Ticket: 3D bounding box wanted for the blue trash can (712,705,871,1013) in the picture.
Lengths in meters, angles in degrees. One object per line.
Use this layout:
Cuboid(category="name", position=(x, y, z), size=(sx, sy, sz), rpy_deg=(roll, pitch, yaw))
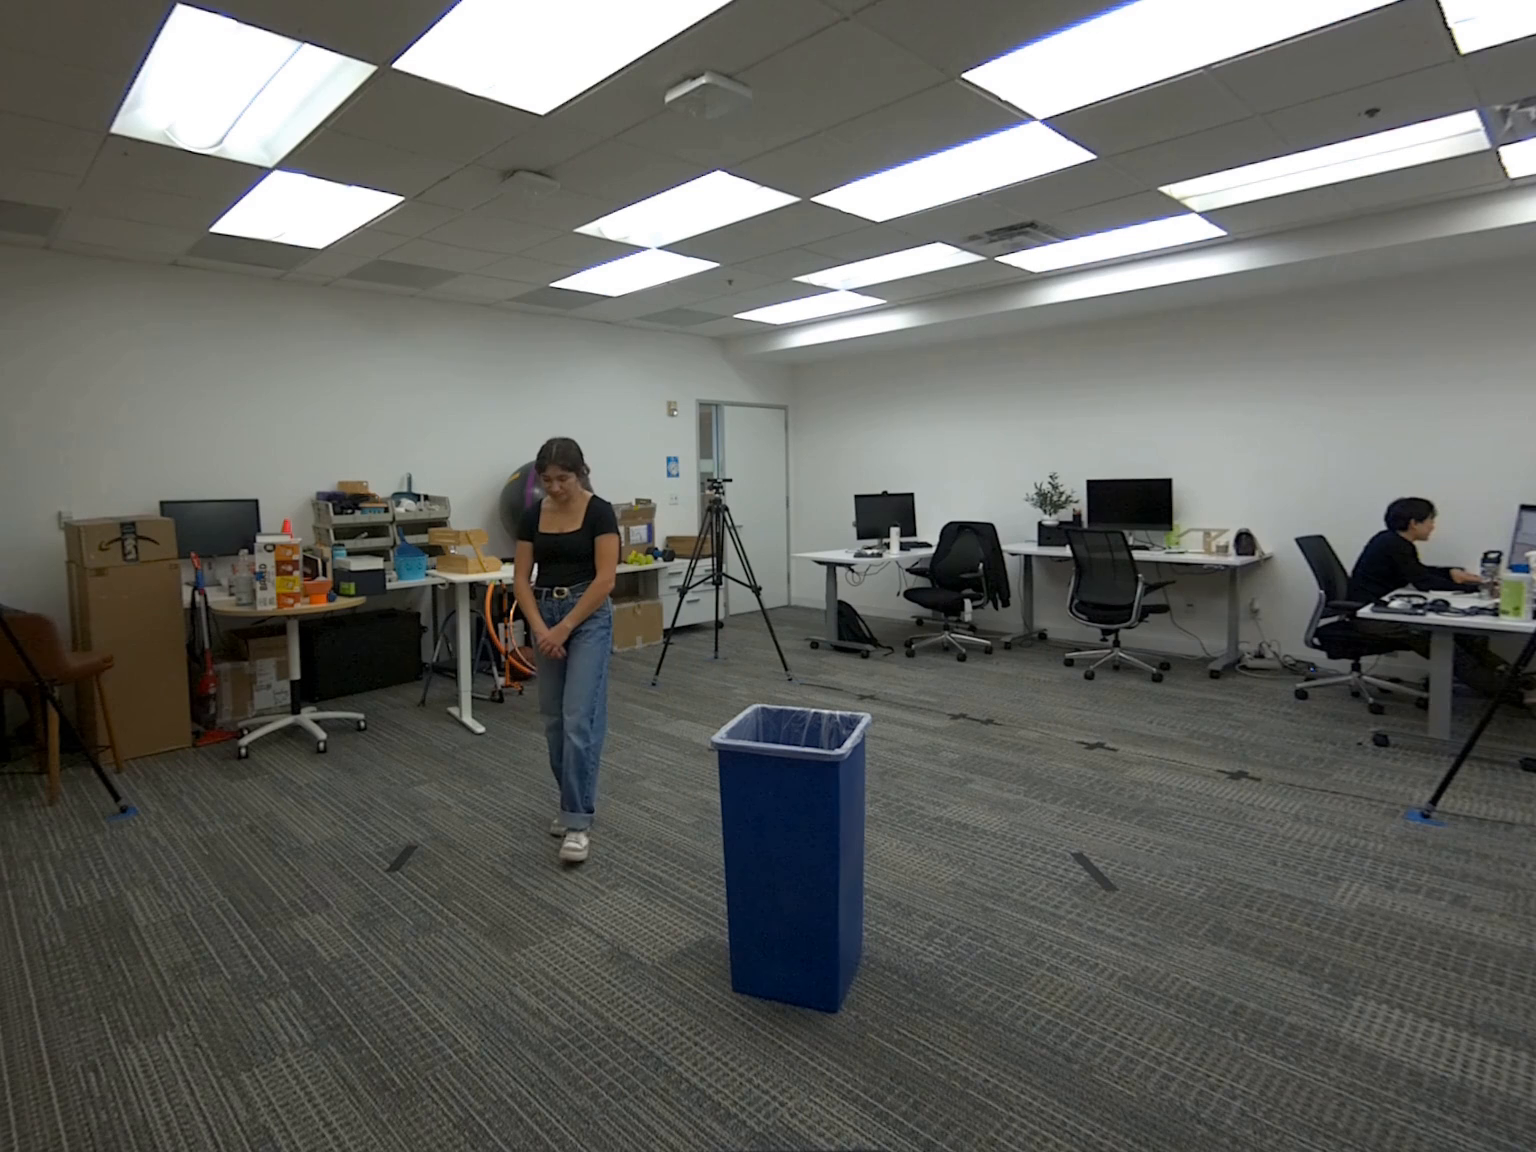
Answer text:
Cuboid(category="blue trash can", position=(0.084, 0.770, 2.385), size=(0.385, 0.711, 0.368), rpy_deg=(0, 4, 20))
